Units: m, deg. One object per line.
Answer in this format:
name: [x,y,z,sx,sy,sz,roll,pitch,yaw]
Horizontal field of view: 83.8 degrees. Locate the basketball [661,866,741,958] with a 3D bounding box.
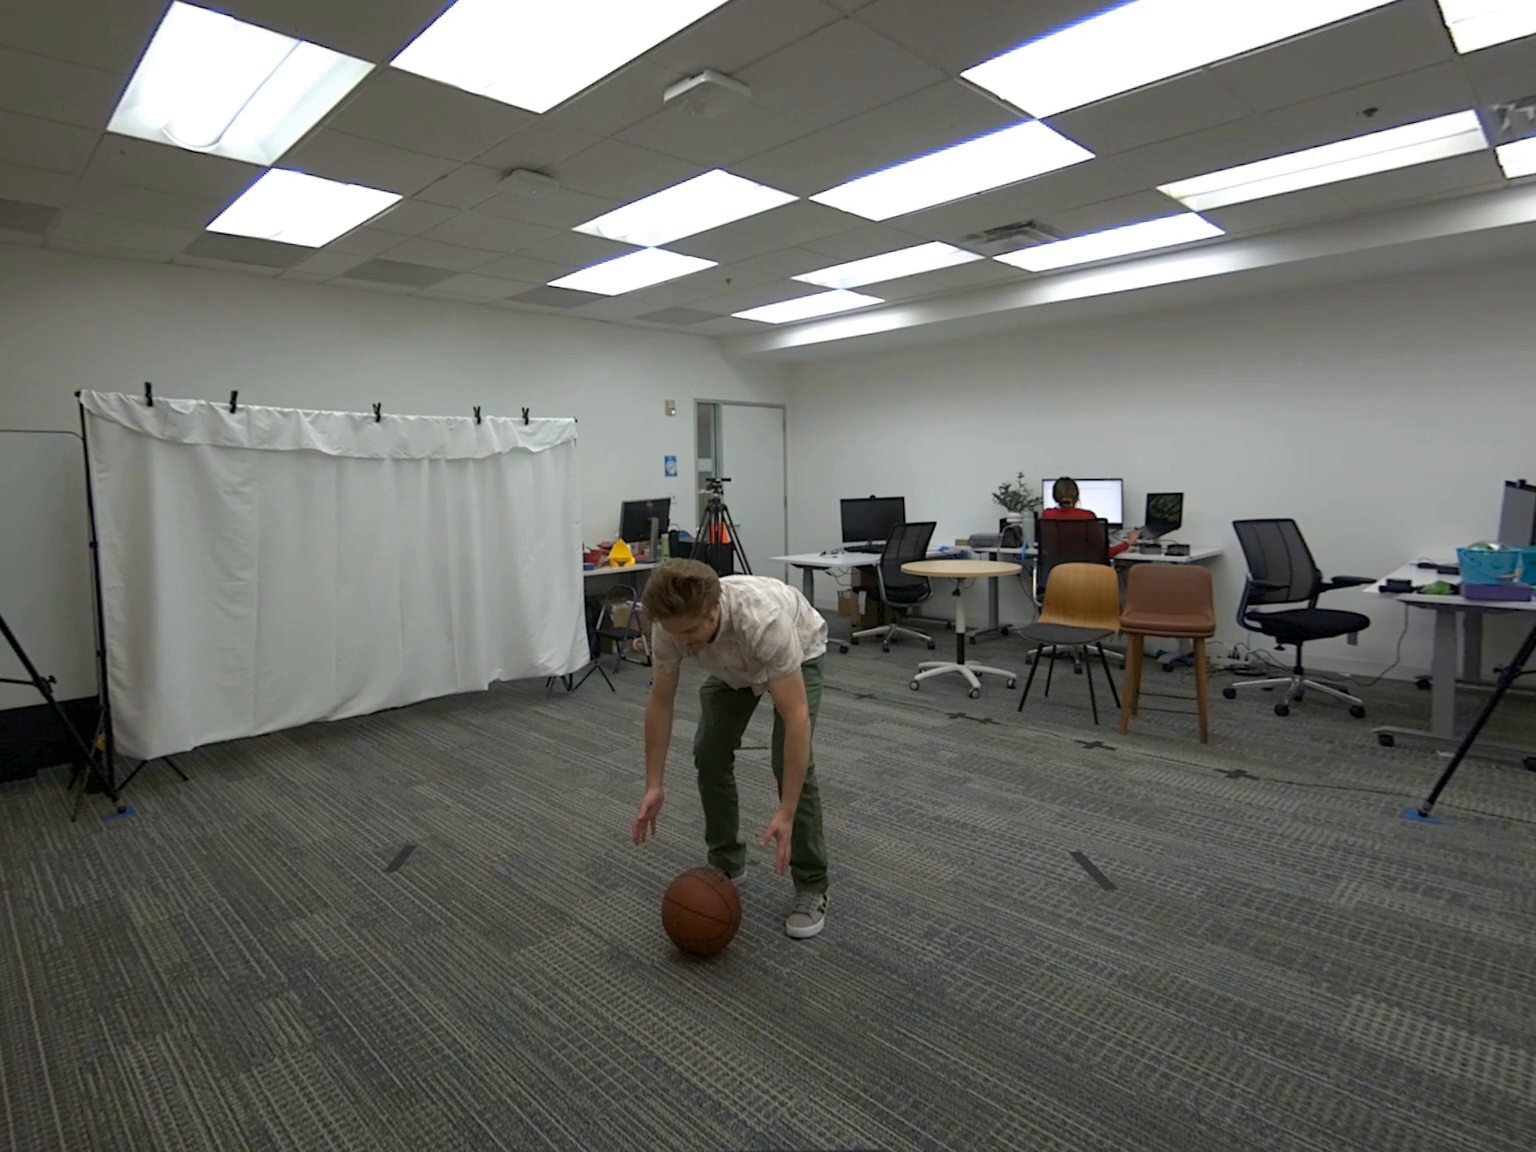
basketball: [-0.190,1.002,2.533,0.236,0.235,0.237,-1,5,-2]
